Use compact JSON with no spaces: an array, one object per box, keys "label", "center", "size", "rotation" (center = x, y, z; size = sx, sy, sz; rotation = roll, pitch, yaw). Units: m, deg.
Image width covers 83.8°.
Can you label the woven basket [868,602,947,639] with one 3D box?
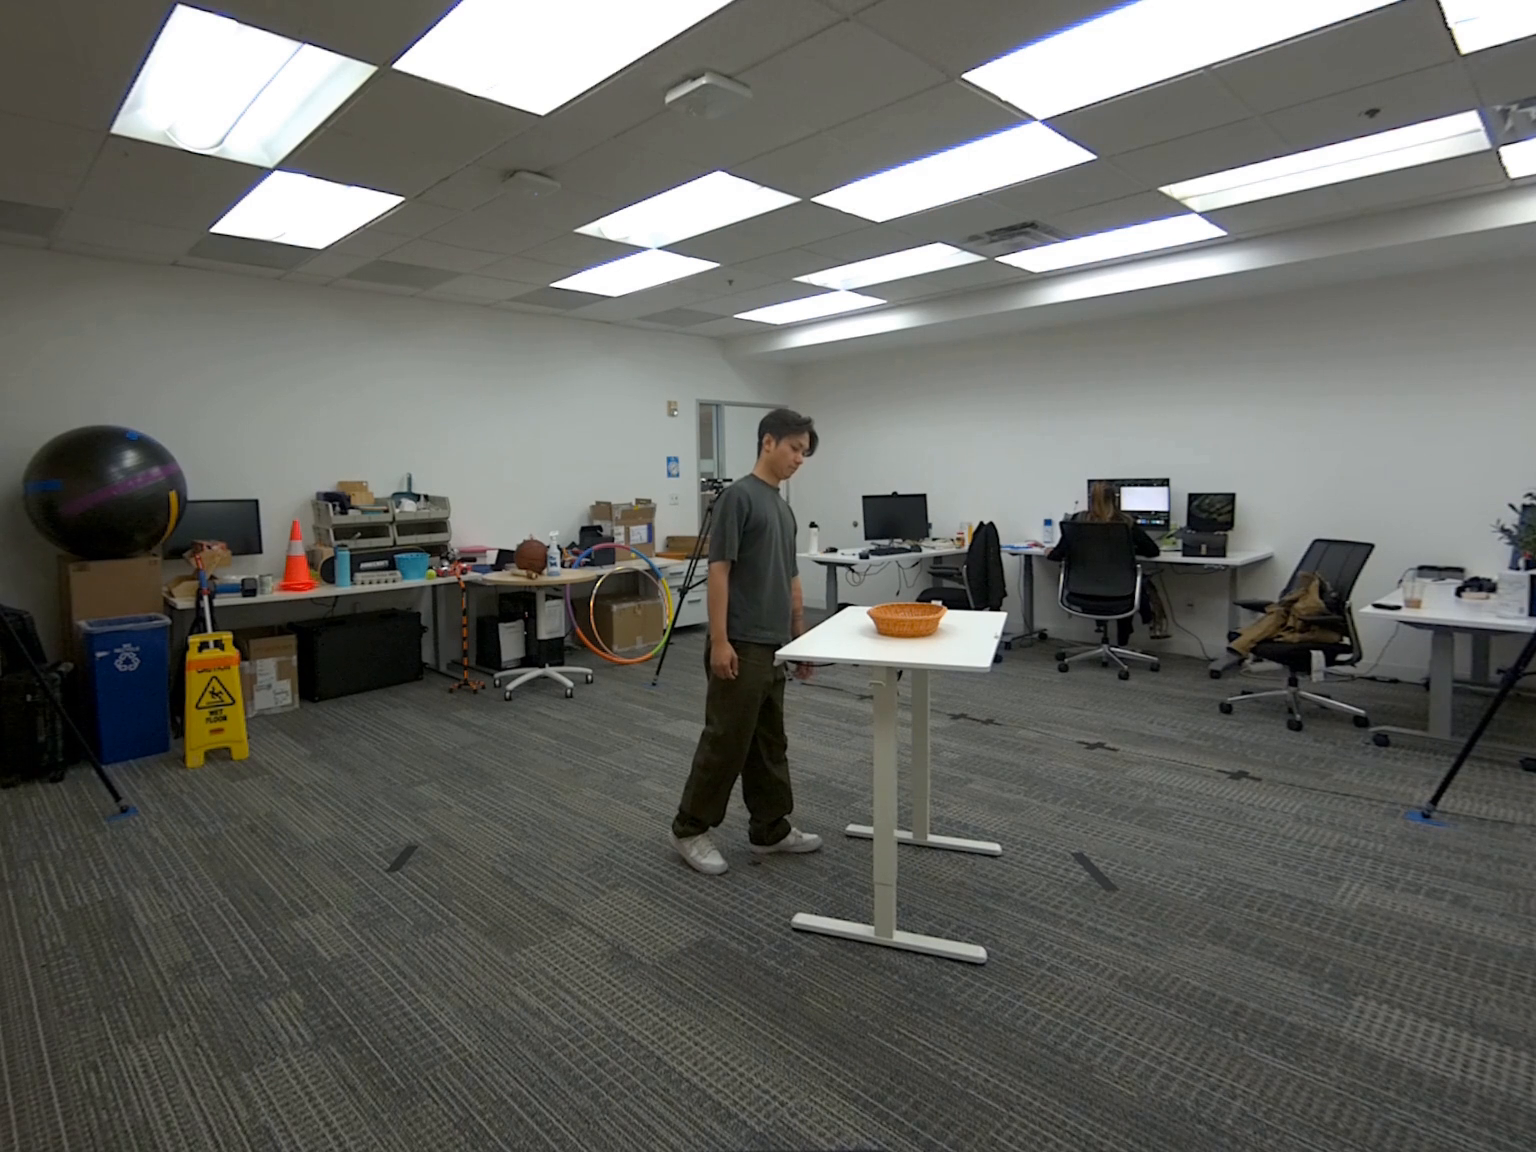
[{"label":"woven basket","center":[0.476,0.152,2.846],"size":[0.258,0.073,0.344],"rotation":[2,7,22]}]
